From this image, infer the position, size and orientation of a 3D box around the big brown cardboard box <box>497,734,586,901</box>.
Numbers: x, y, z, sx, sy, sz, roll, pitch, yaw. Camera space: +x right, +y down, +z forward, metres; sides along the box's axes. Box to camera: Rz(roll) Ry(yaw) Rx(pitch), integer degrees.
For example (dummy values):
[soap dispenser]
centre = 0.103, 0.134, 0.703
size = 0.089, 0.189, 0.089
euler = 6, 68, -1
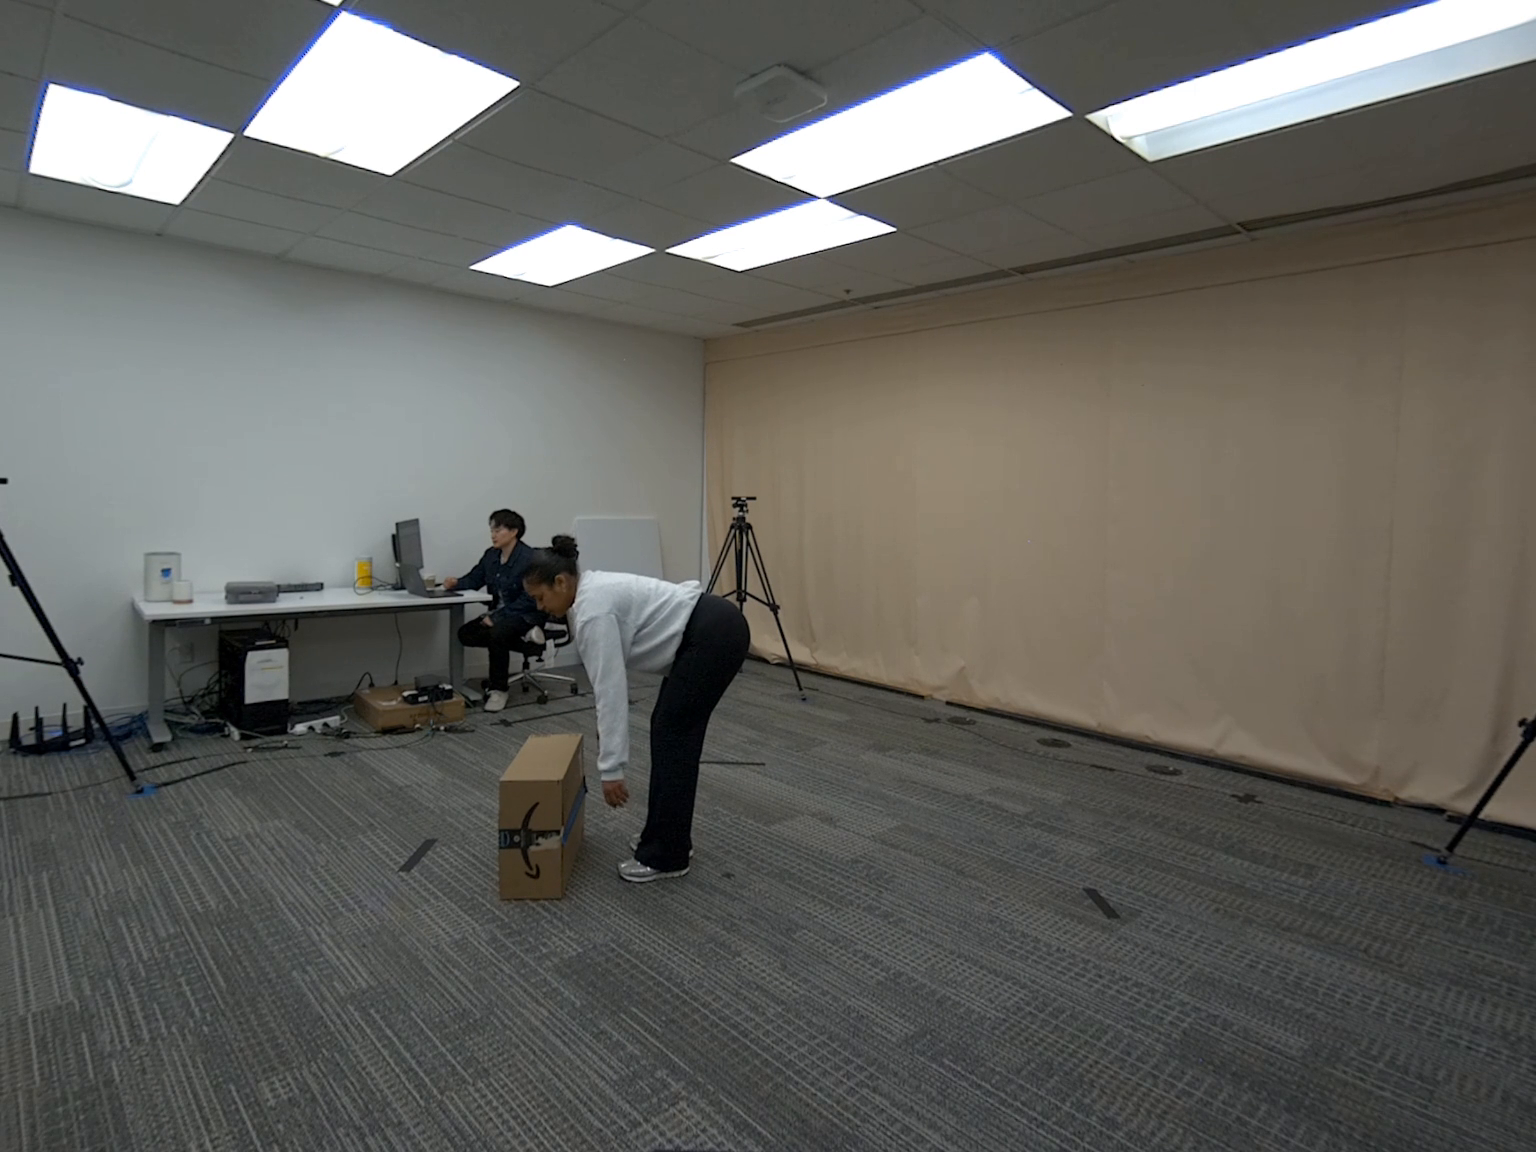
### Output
[big brown cardboard box]
centre = -0.845, 0.878, 3.157
size = 0.233, 0.416, 0.592
euler = -1, 5, -3
